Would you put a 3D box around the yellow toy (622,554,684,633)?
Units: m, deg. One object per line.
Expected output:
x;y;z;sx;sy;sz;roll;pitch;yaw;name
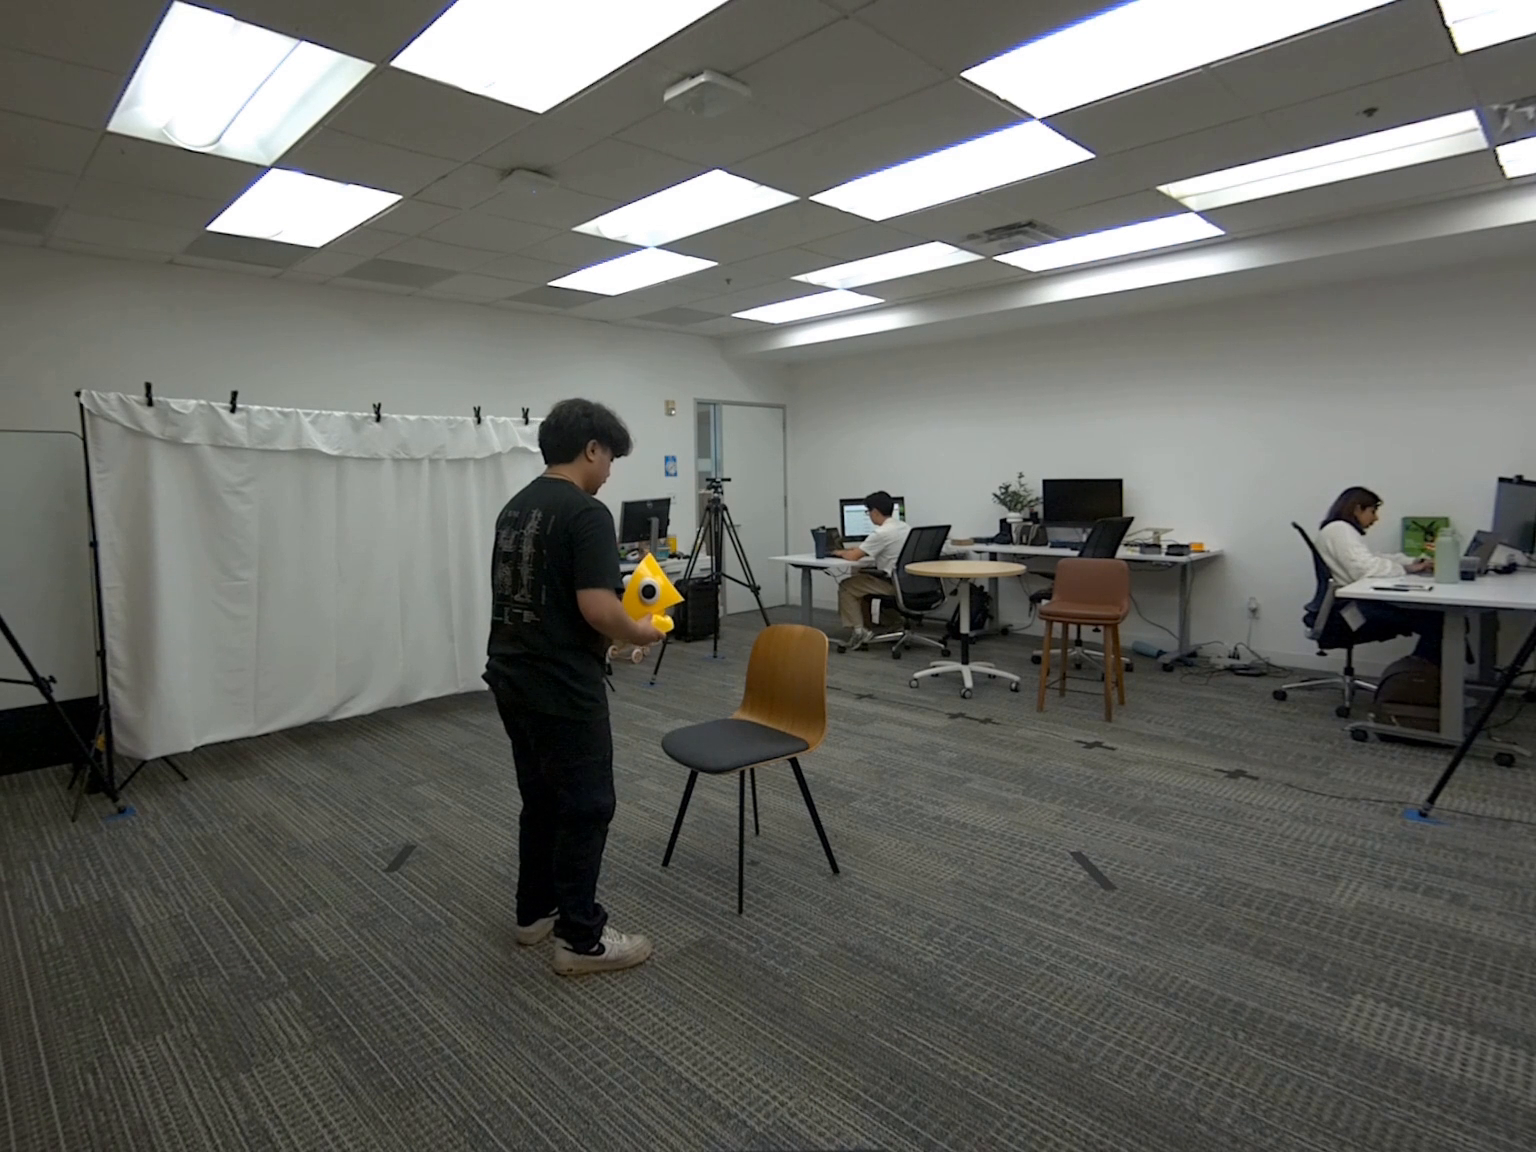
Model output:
-0.398;0.057;2.684;0.211;0.228;0.189;5;16;44;yellow toy
